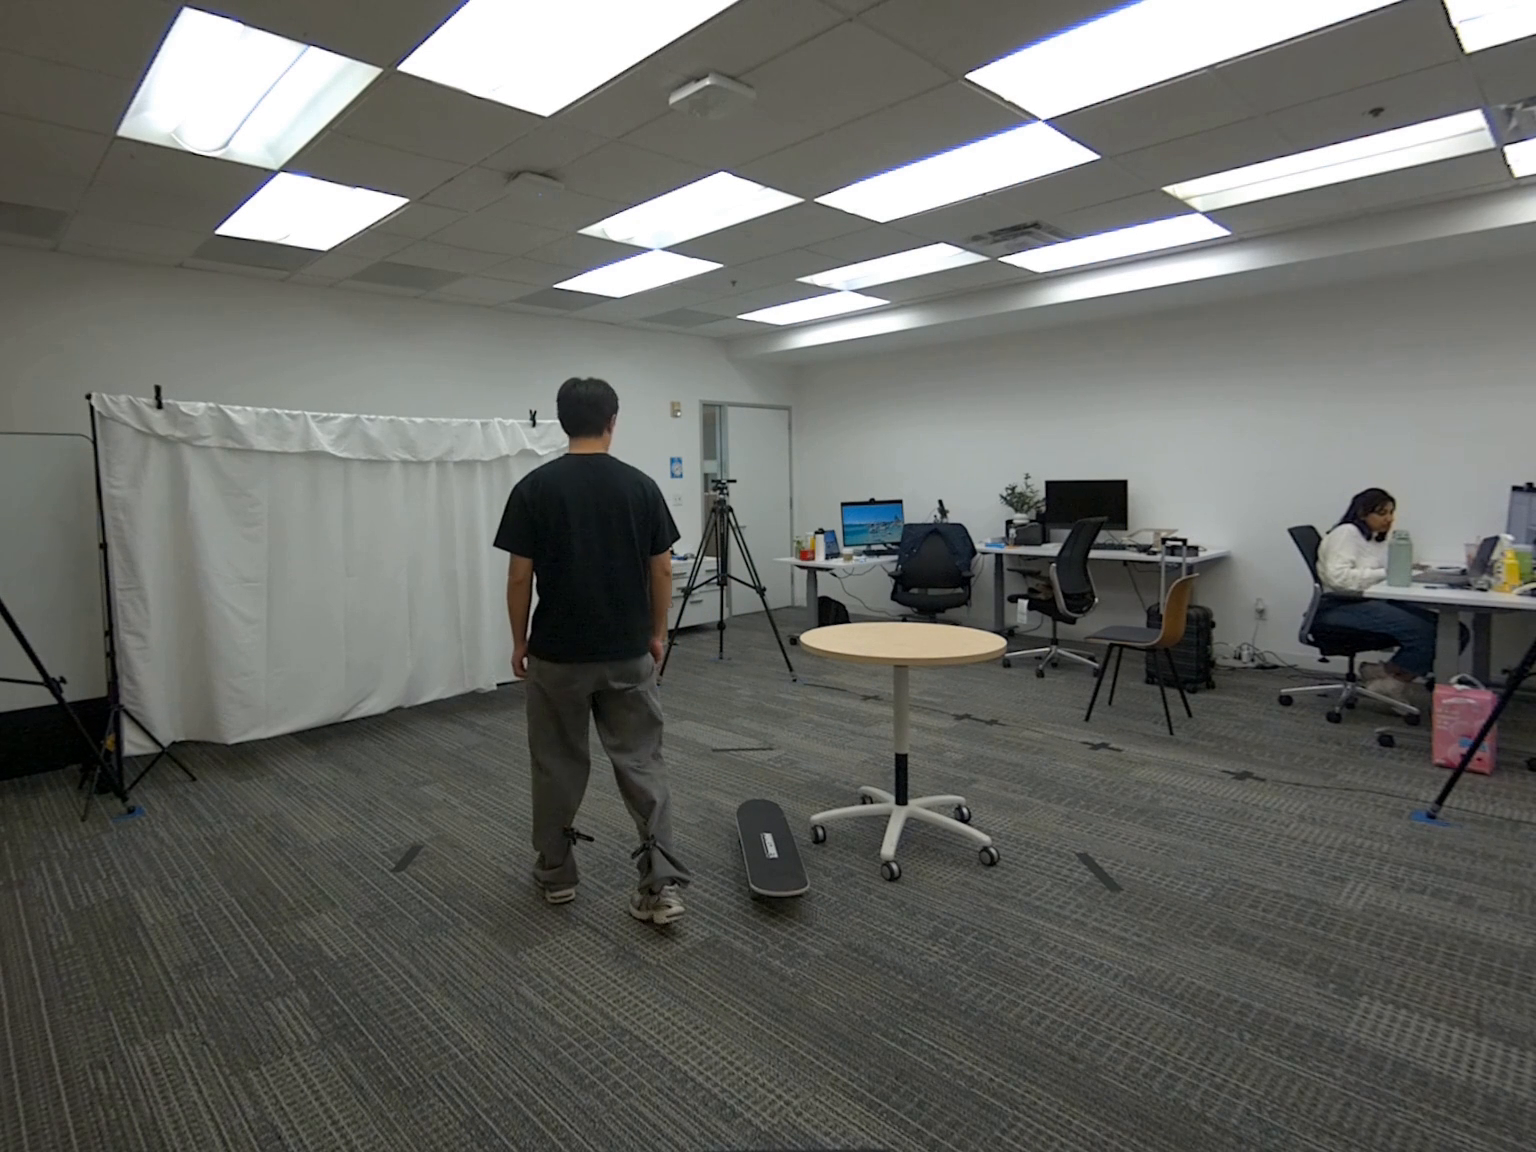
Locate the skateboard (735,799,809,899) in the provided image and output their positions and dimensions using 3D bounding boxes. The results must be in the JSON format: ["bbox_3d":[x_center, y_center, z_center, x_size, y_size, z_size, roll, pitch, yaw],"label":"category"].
[{"bbox_3d":[0.003,0.993,3.057,0.192,0.110,0.792,-1,6,-6],"label":"skateboard"}]
